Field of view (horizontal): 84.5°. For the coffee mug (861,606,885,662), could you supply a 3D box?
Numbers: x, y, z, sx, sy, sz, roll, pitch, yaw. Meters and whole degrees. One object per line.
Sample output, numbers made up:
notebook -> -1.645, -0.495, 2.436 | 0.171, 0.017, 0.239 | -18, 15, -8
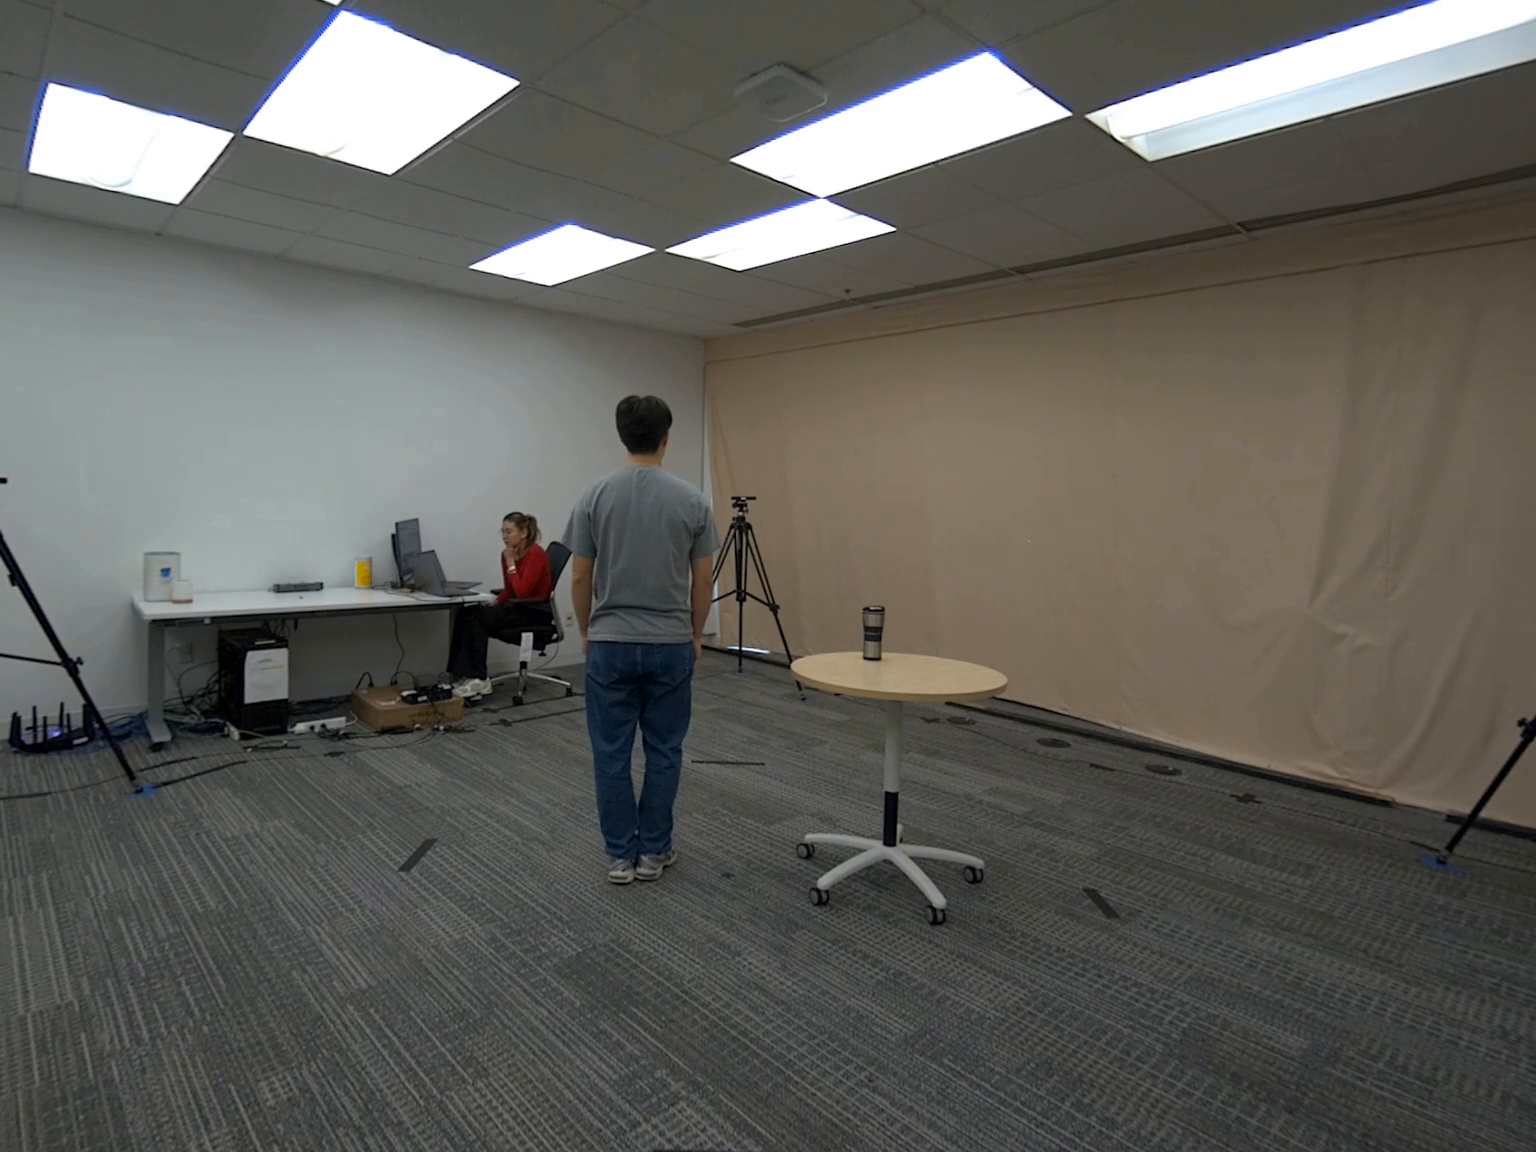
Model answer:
coffee mug -> 0.421, 0.222, 3.276 | 0.090, 0.202, 0.119 | 1, 4, 42
